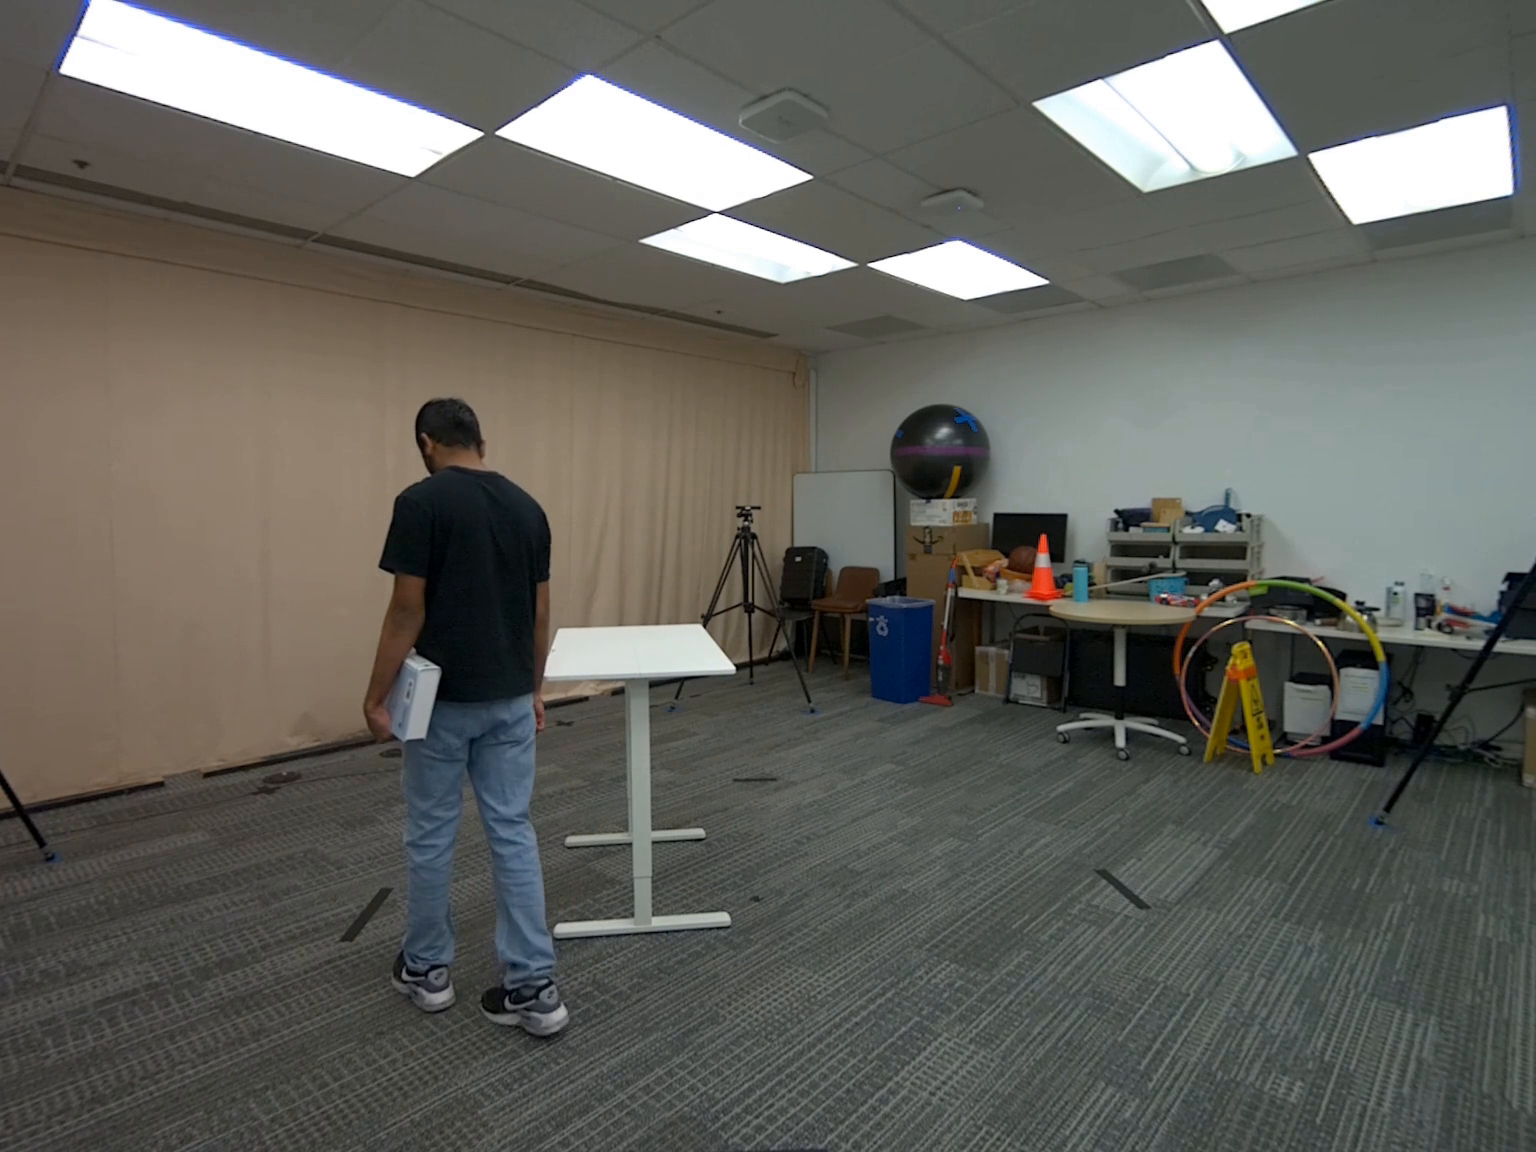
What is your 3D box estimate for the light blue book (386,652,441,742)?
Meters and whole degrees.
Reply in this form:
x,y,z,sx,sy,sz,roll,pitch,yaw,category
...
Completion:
x,y,z,sx,sy,sz,roll,pitch,yaw,category
-0.950,0.293,2.209,0.270,0.191,0.057,13,2,44,light blue book
